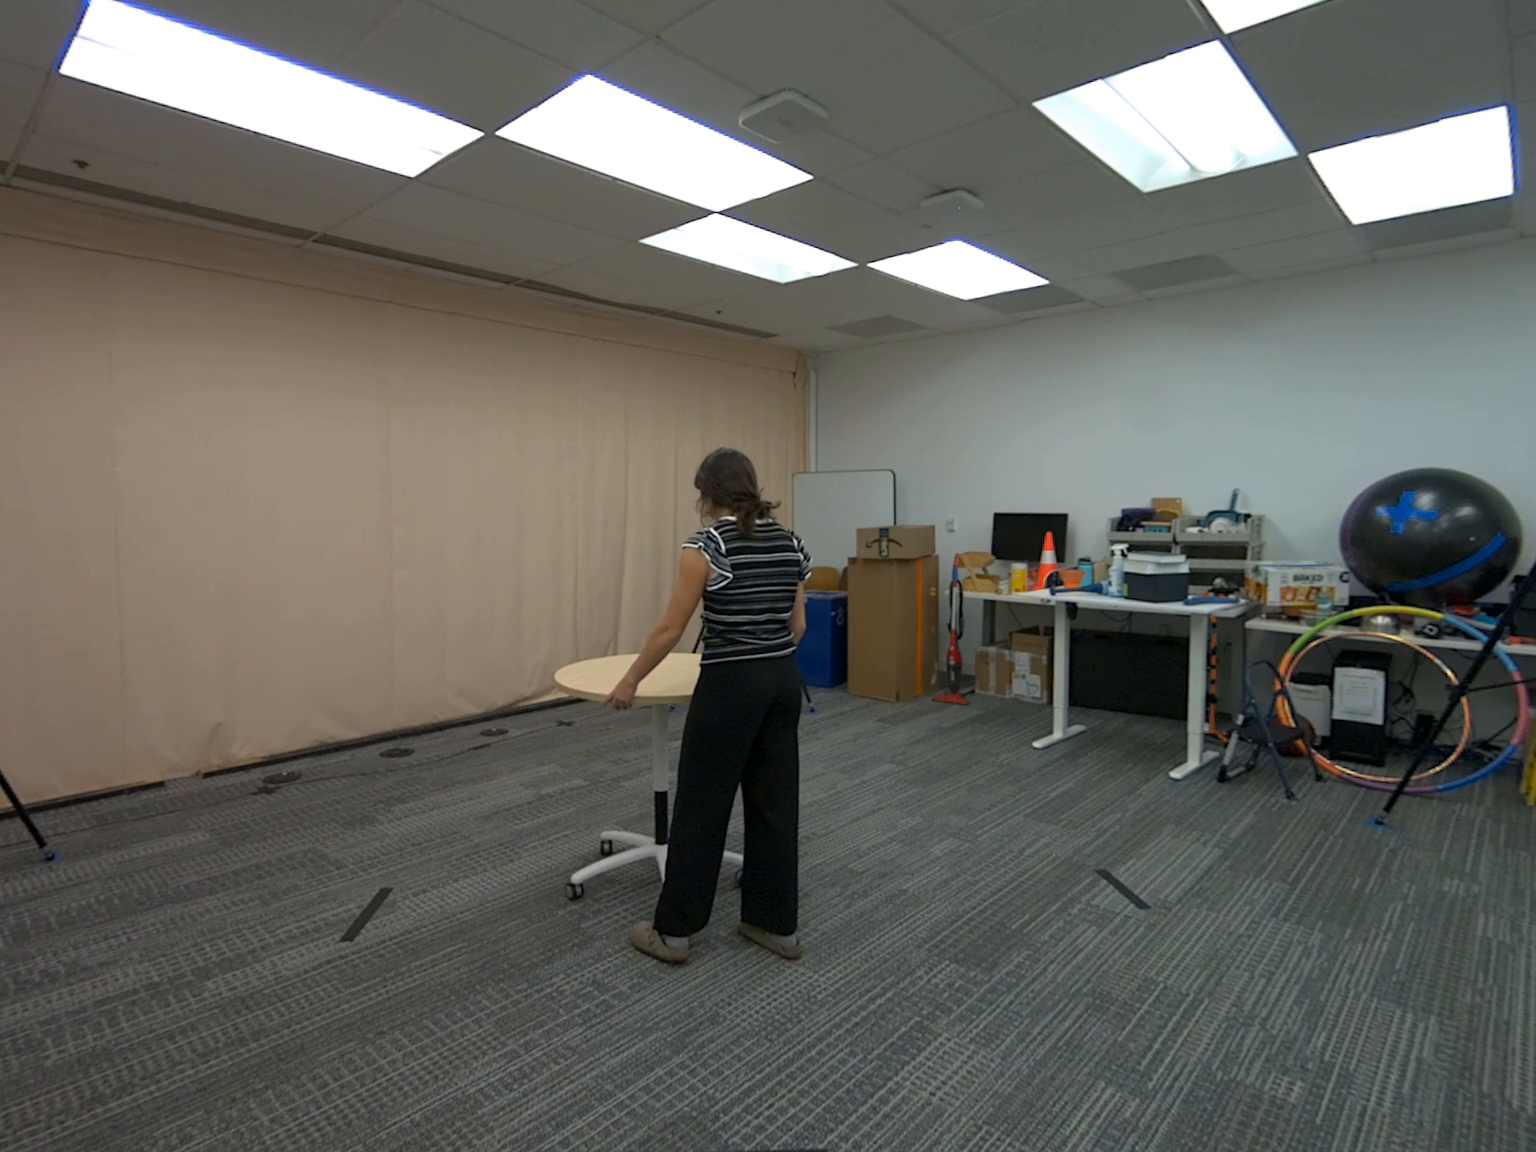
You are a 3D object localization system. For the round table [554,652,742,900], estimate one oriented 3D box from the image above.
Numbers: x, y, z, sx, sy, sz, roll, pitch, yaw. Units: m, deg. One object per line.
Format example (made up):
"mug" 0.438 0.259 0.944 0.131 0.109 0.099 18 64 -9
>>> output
"round table" -0.403 0.747 3.132 0.763 0.792 0.767 0 4 -2
